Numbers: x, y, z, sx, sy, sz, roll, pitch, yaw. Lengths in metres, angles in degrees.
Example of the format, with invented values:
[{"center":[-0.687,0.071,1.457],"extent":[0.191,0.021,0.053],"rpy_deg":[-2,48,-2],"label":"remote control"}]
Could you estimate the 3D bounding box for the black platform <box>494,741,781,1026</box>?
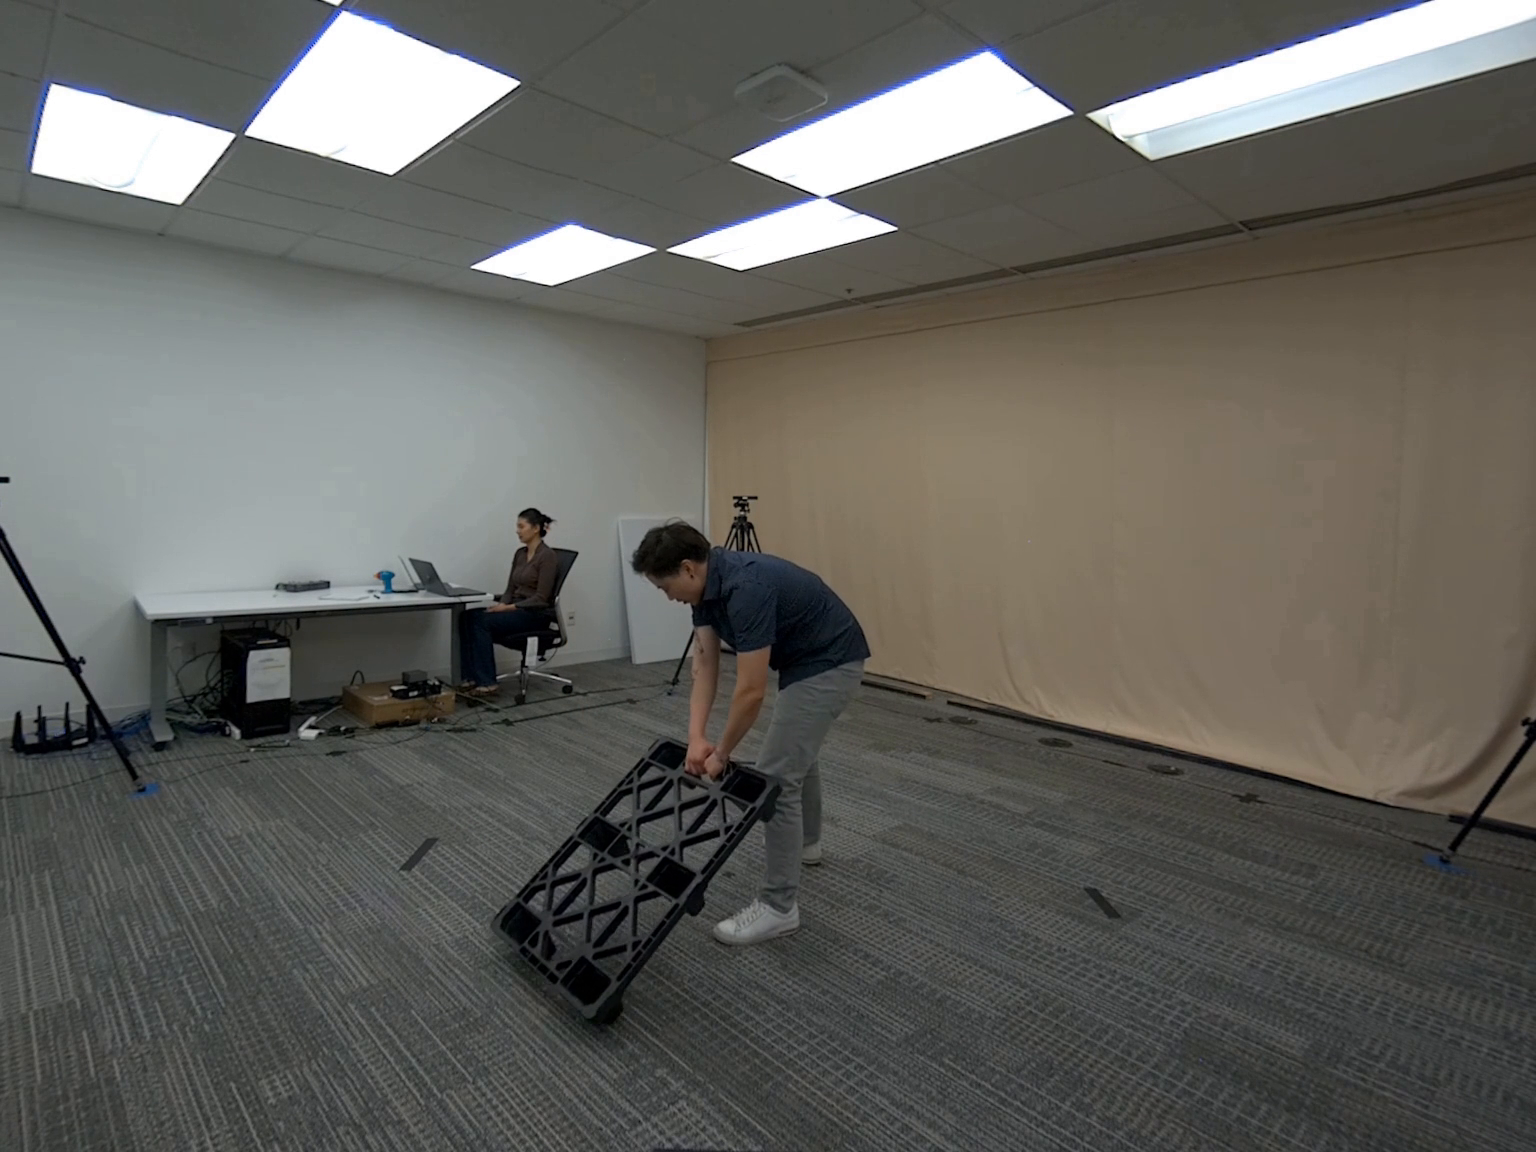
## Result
[{"center":[-0.377,0.878,2.527],"extent":[0.621,0.140,0.805],"rpy_deg":[7,45,47],"label":"black platform"}]
